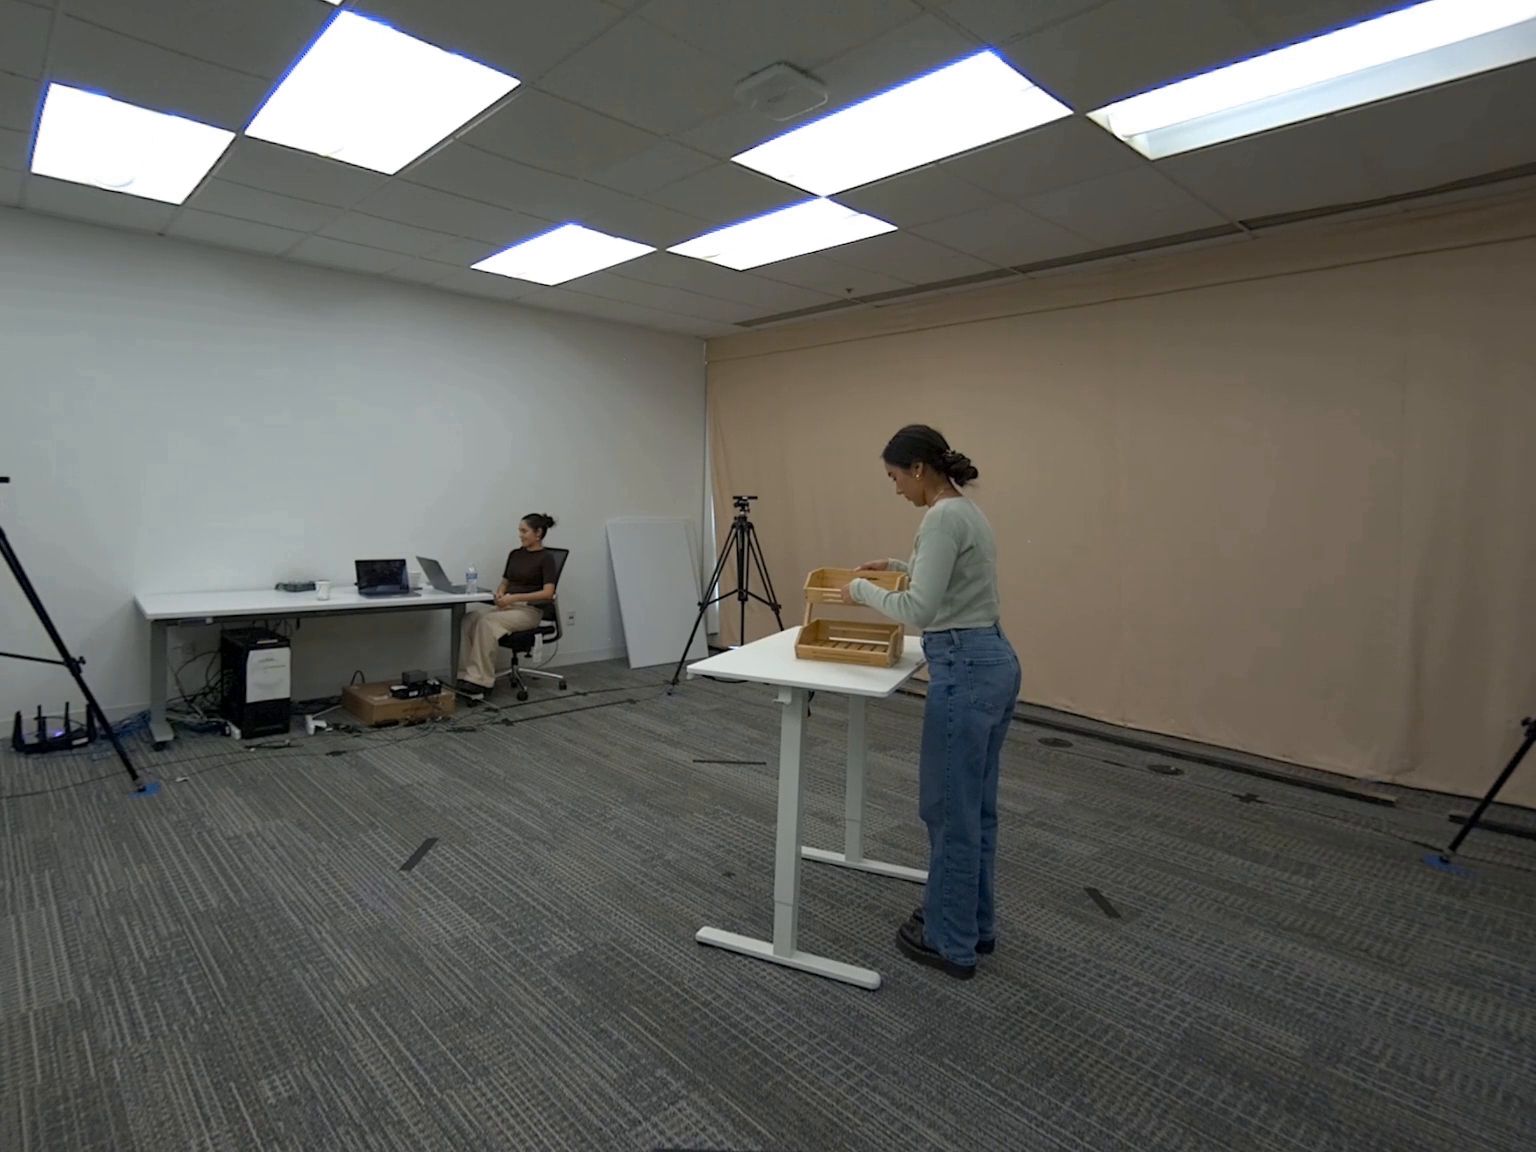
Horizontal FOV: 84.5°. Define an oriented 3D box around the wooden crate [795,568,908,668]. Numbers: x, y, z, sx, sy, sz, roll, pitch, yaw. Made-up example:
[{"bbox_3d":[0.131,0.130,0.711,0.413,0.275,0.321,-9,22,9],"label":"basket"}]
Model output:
[{"bbox_3d":[0.266,0.125,2.726,0.330,0.272,0.299,2,8,20],"label":"wooden crate"}]
